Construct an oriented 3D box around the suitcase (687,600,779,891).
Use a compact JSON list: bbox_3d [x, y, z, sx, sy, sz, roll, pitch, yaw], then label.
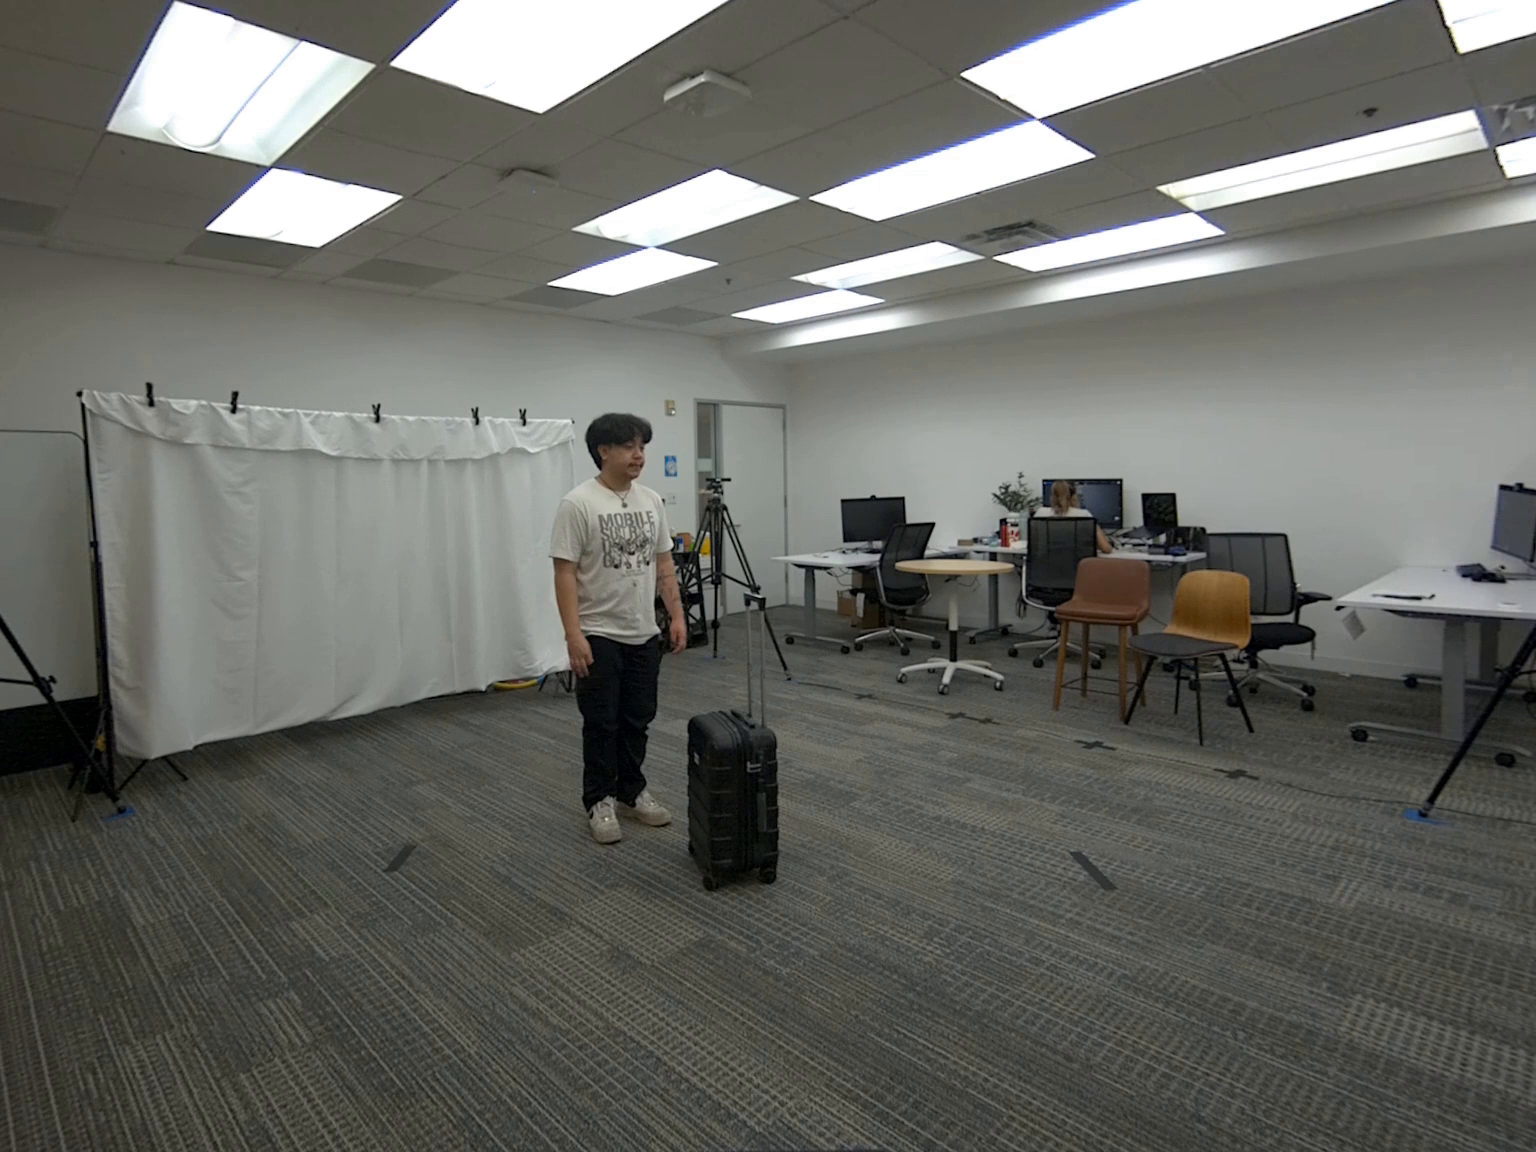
[{"bbox_3d":[-0.135,0.575,3.042,0.253,0.976,0.390,-3,3,-16],"label":"suitcase"}]
